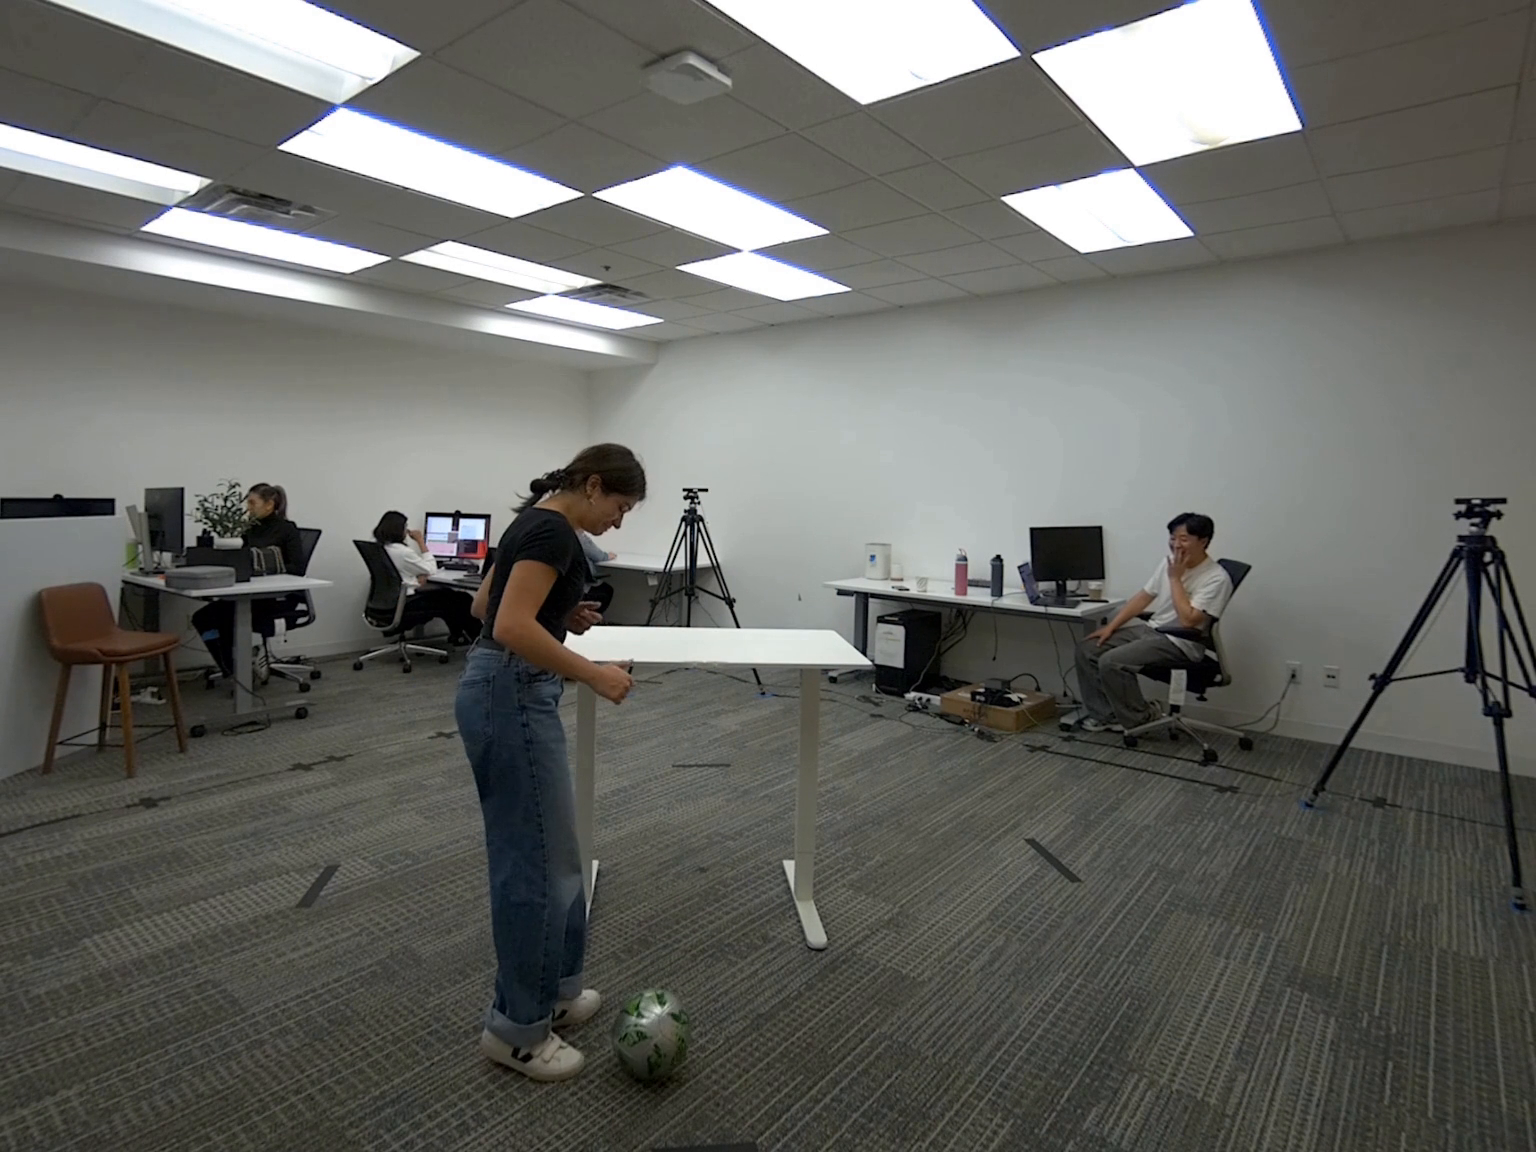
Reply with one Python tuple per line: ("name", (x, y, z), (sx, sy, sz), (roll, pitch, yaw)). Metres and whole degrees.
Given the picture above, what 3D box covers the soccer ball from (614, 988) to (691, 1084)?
("soccer ball", (-0.273, 1.086, 2.022), (0.187, 0.187, 0.188), (1, 4, -2))
